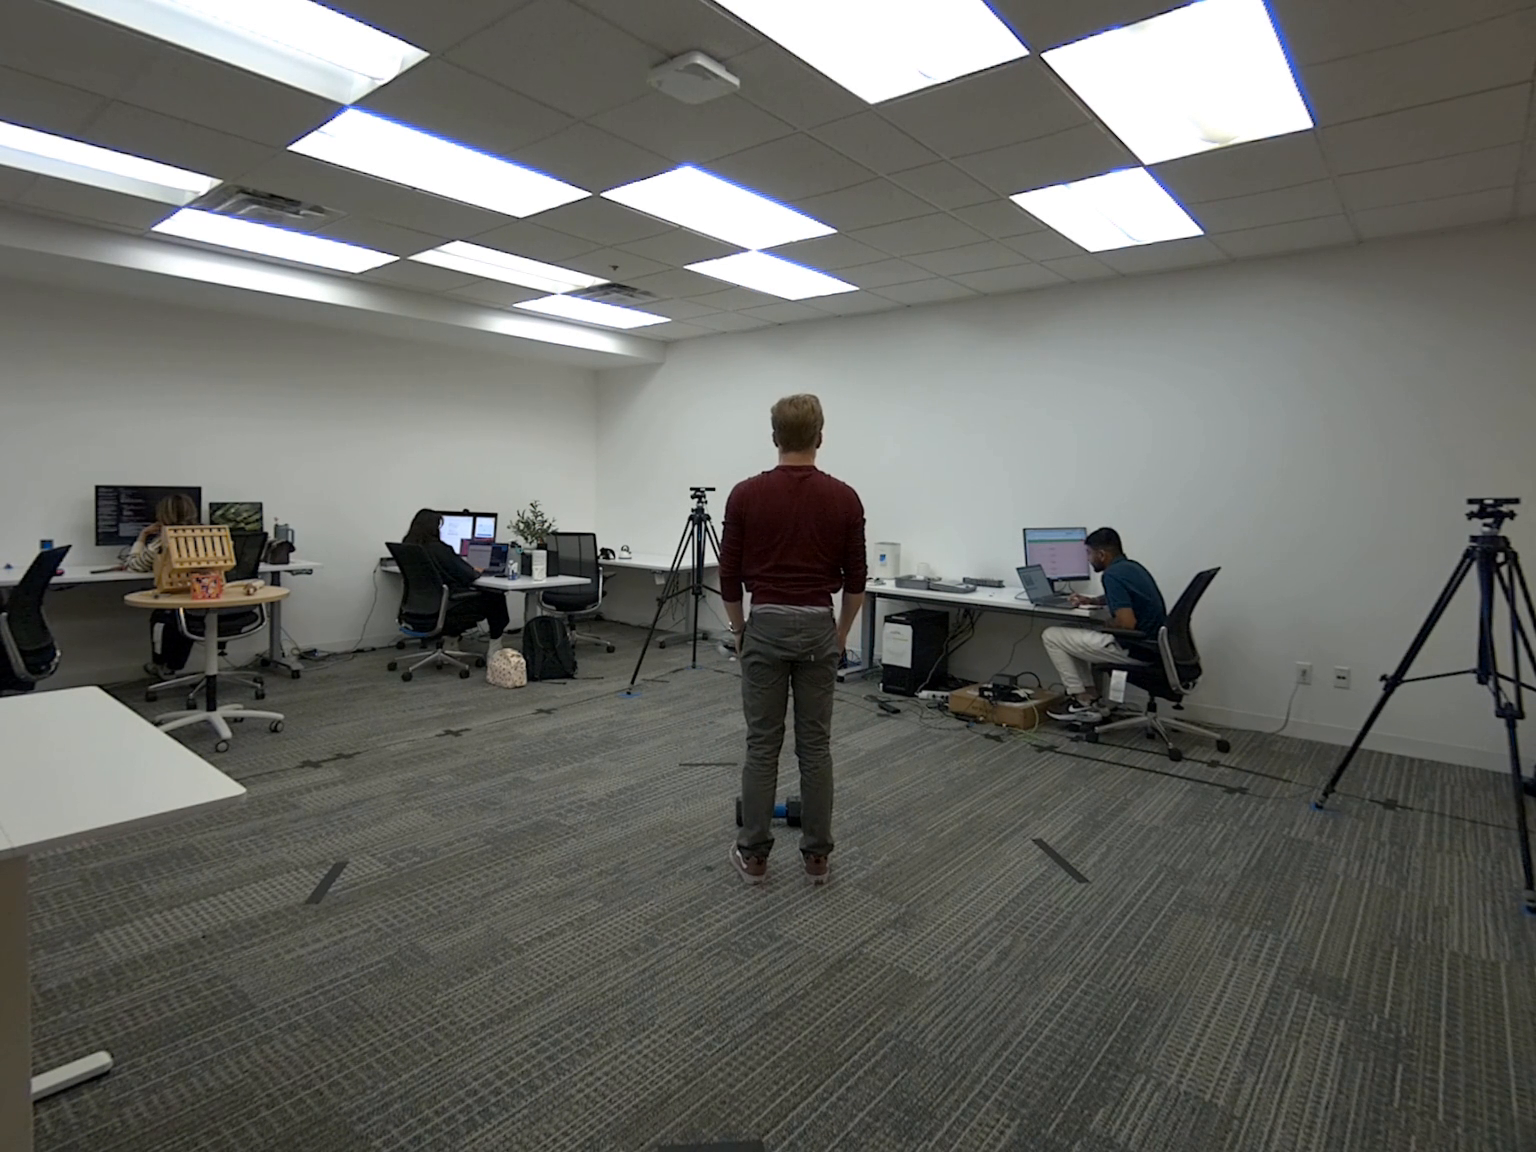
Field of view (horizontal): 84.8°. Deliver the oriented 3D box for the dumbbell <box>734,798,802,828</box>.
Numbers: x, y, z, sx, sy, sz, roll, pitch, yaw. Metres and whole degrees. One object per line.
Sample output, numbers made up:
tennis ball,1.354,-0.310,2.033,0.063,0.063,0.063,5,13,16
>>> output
dumbbell,0.003,0.978,3.540,0.293,0.108,0.123,0,3,-3
